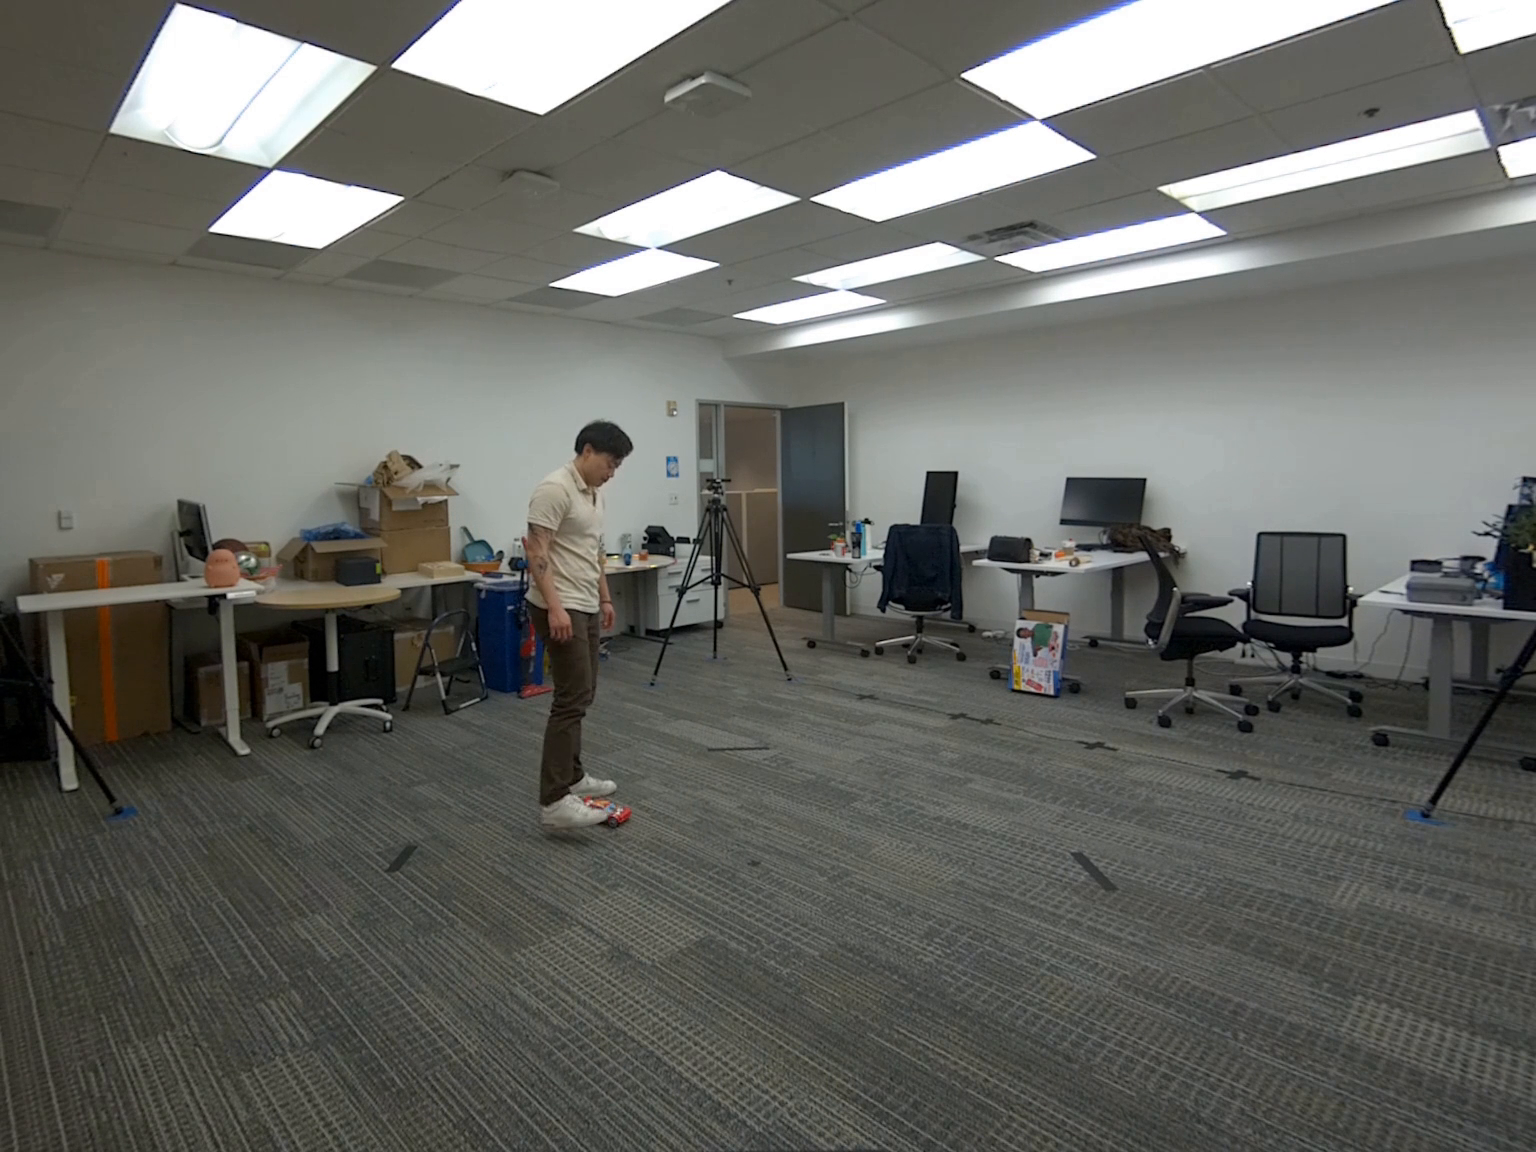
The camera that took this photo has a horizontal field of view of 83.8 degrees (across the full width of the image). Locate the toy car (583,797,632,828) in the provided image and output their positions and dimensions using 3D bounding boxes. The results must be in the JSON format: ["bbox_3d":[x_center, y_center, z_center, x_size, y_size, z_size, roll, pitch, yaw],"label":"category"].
[{"bbox_3d":[-0.695,0.977,3.533,0.261,0.083,0.128,12,10,22],"label":"toy car"}]
